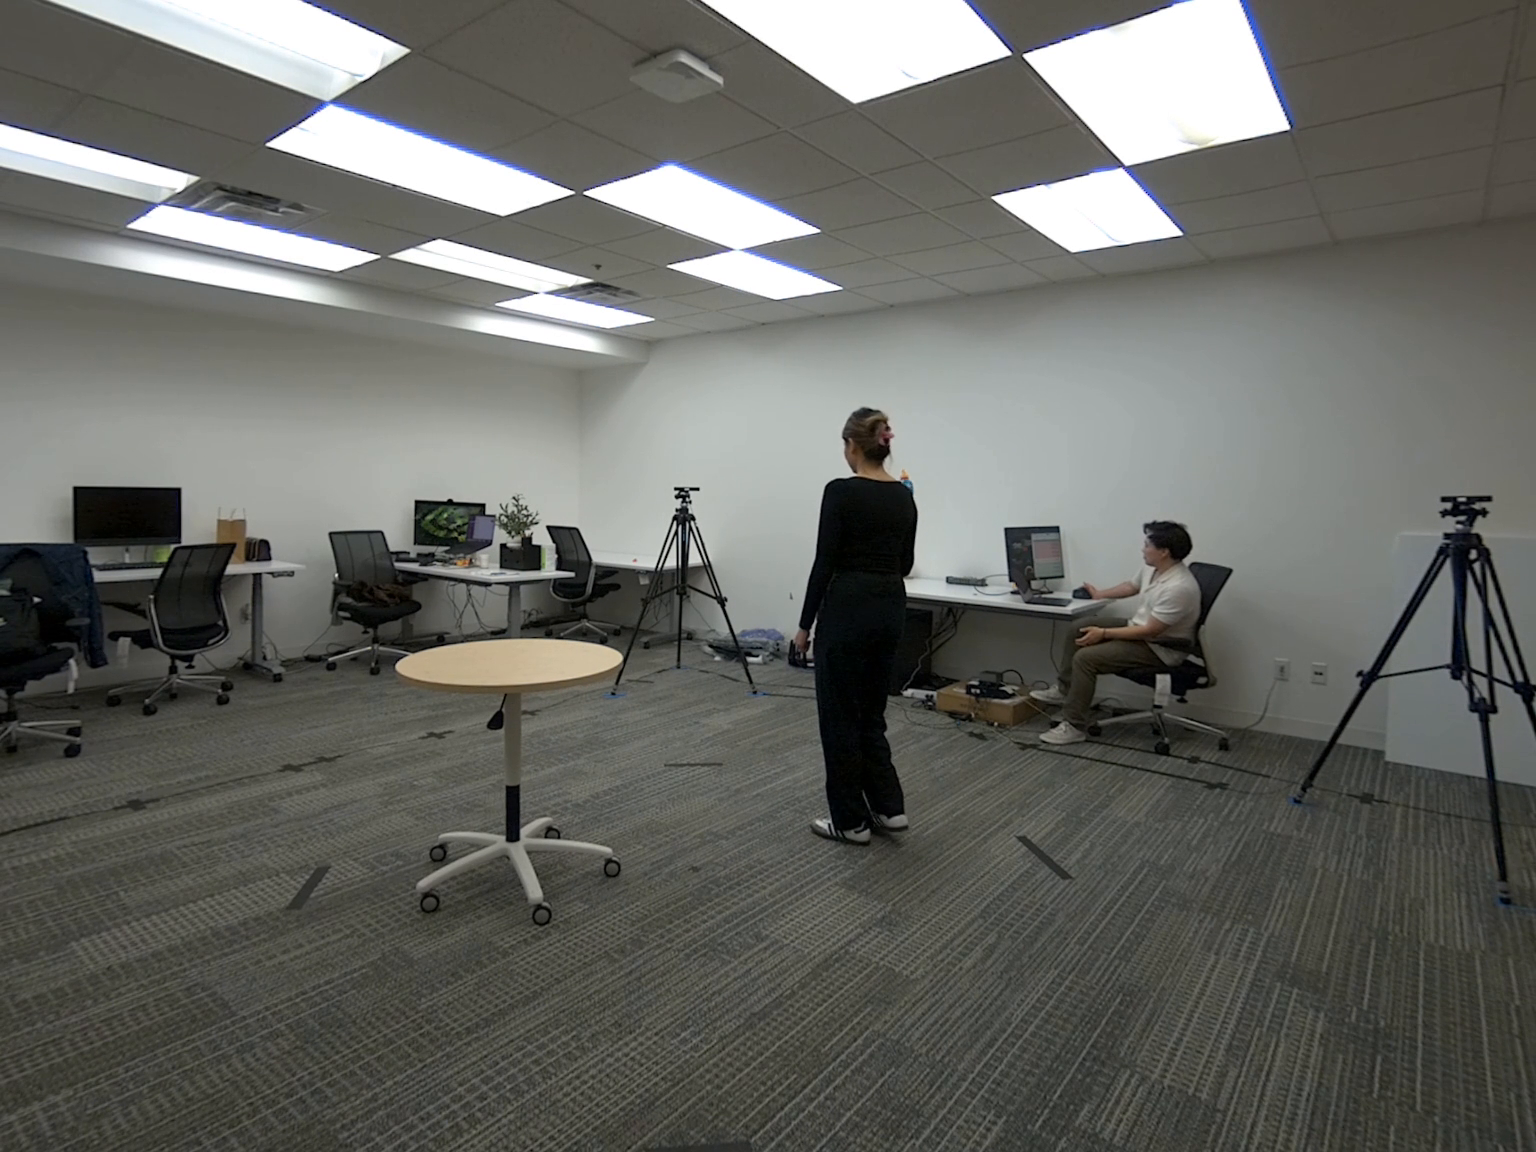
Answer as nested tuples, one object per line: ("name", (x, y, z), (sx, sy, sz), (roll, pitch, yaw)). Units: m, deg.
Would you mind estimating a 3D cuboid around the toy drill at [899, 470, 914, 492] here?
("toy drill", (0.556, -0.371, 3.629), (0.059, 0.174, 0.146), (17, -36, -25))
